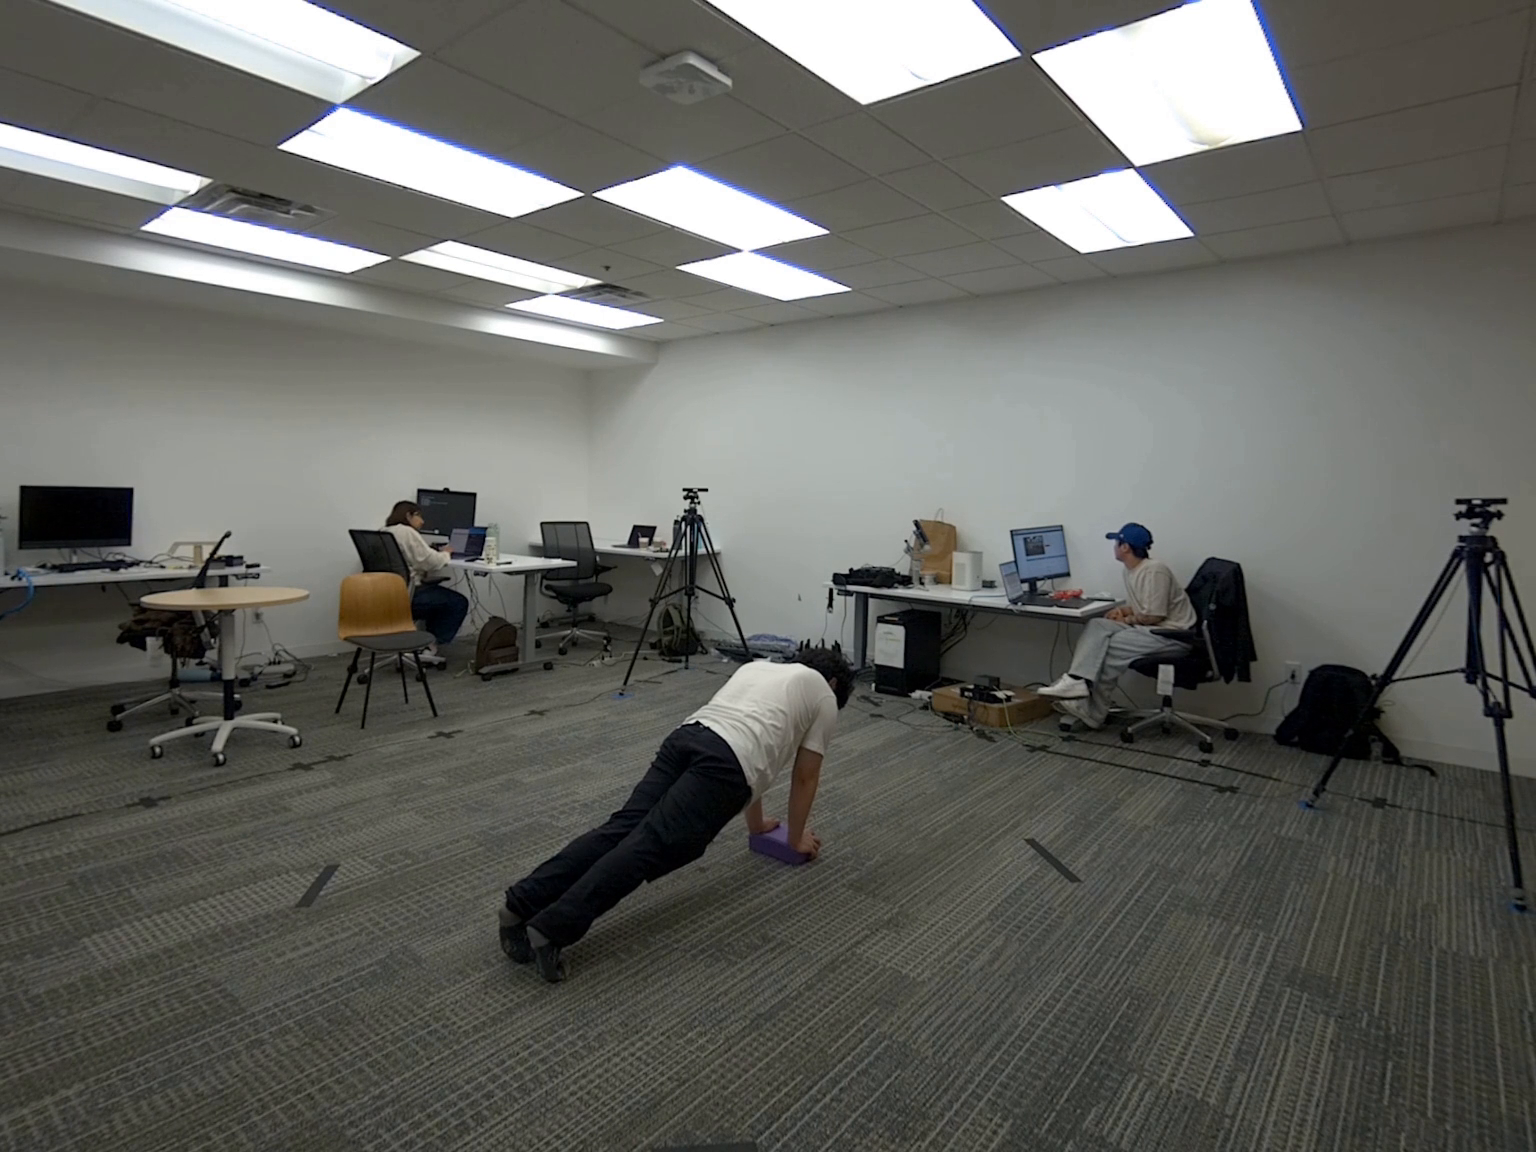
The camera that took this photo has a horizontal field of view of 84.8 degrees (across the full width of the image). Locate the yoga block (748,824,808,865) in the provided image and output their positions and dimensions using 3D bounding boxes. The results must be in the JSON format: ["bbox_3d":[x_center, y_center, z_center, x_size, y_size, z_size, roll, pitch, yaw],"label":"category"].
[{"bbox_3d":[0.047,1.026,3.277,0.237,0.076,0.145,5,7,38],"label":"yoga block"}]
